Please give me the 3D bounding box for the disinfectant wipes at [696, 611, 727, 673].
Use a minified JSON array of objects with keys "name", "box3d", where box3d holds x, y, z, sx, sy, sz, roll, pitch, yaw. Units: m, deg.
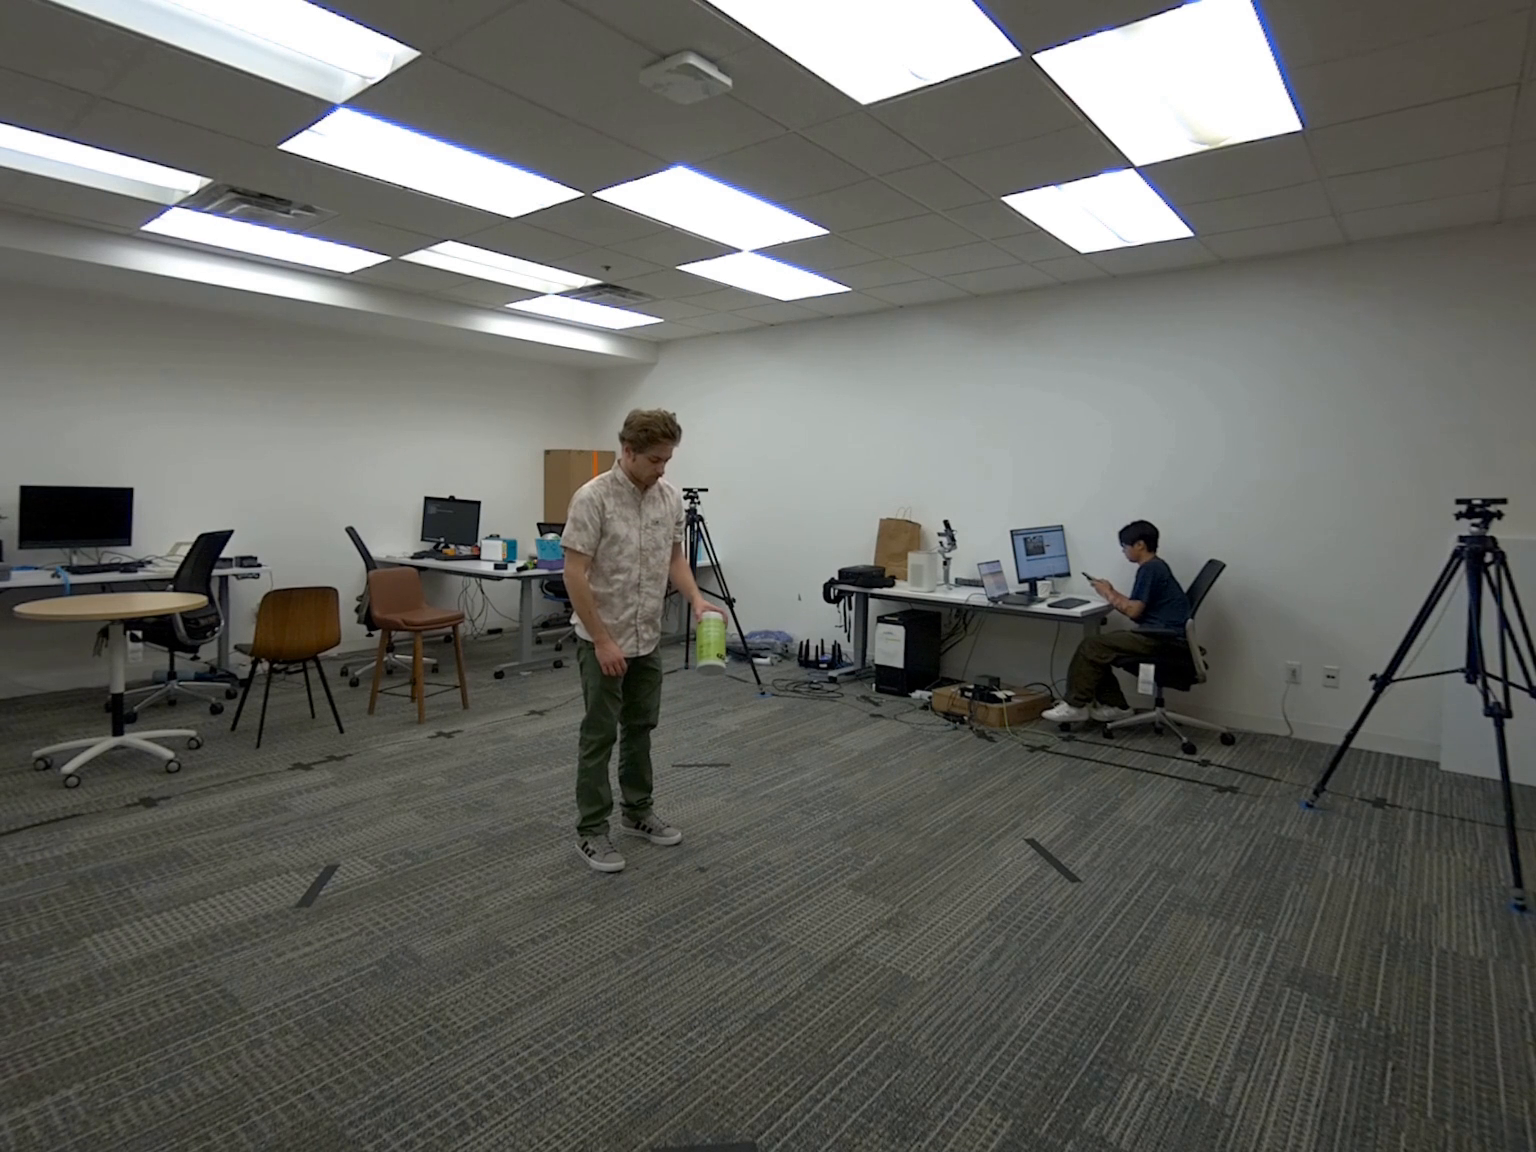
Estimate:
[{"name":"disinfectant wipes","box3d":[-0.222,0.247,3.125,0.117,0.223,0.115,0,-28,-2]}]
